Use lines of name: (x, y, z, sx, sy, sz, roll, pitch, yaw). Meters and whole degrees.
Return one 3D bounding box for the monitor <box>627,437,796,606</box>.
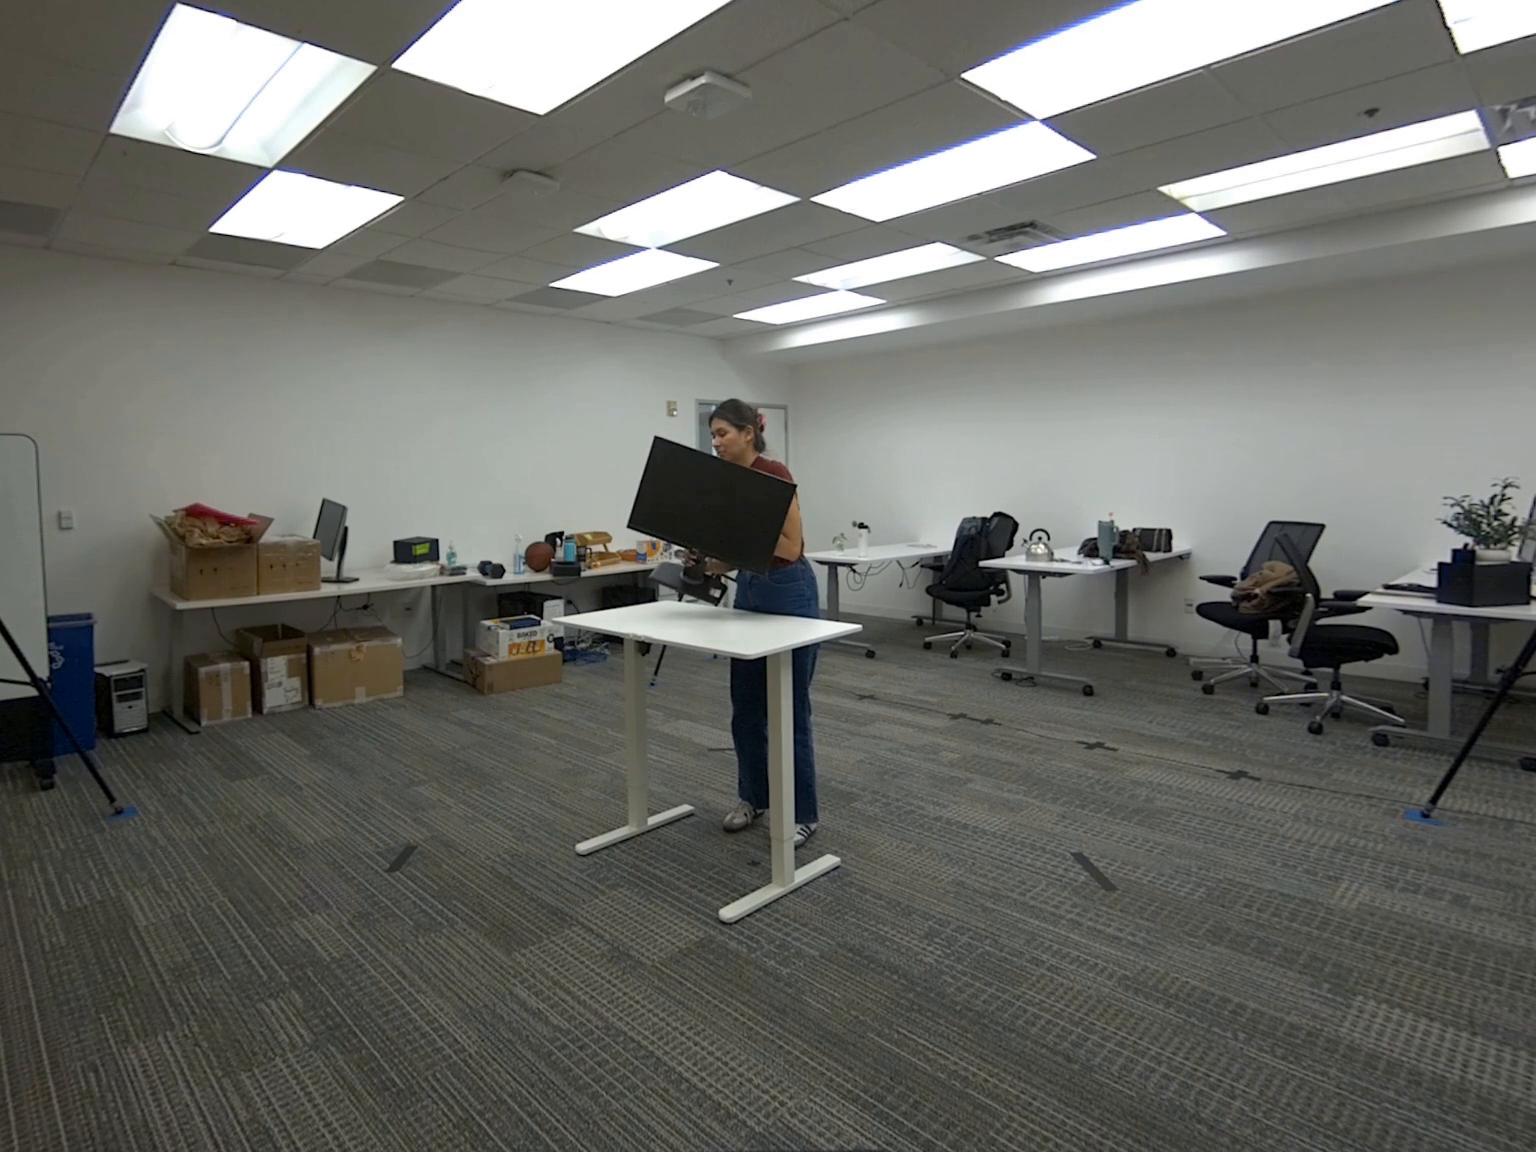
monitor: (-0.219, -0.185, 3.103, 0.540, 0.516, 0.189, 18, 24, 2)
